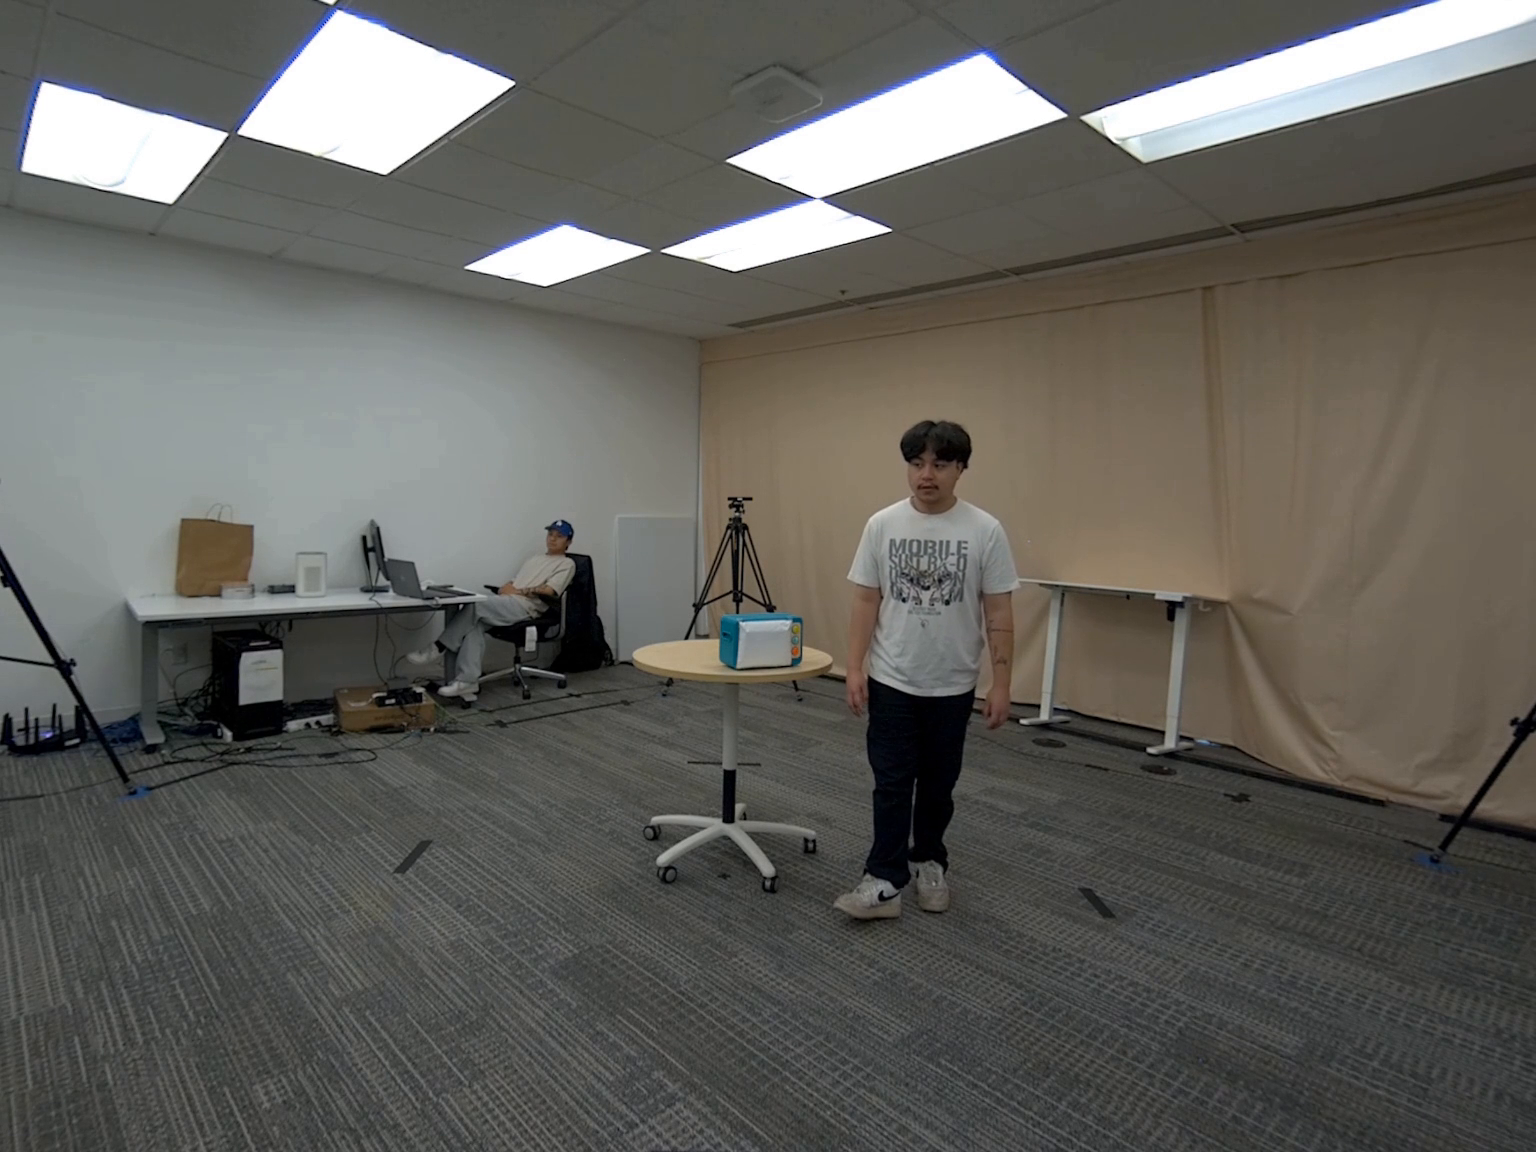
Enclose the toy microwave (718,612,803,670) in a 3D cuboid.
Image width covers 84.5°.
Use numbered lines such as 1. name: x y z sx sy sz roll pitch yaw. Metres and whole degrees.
1. toy microwave: -0.025 0.233 3.011 0.281 0.183 0.155 -1 4 -27
